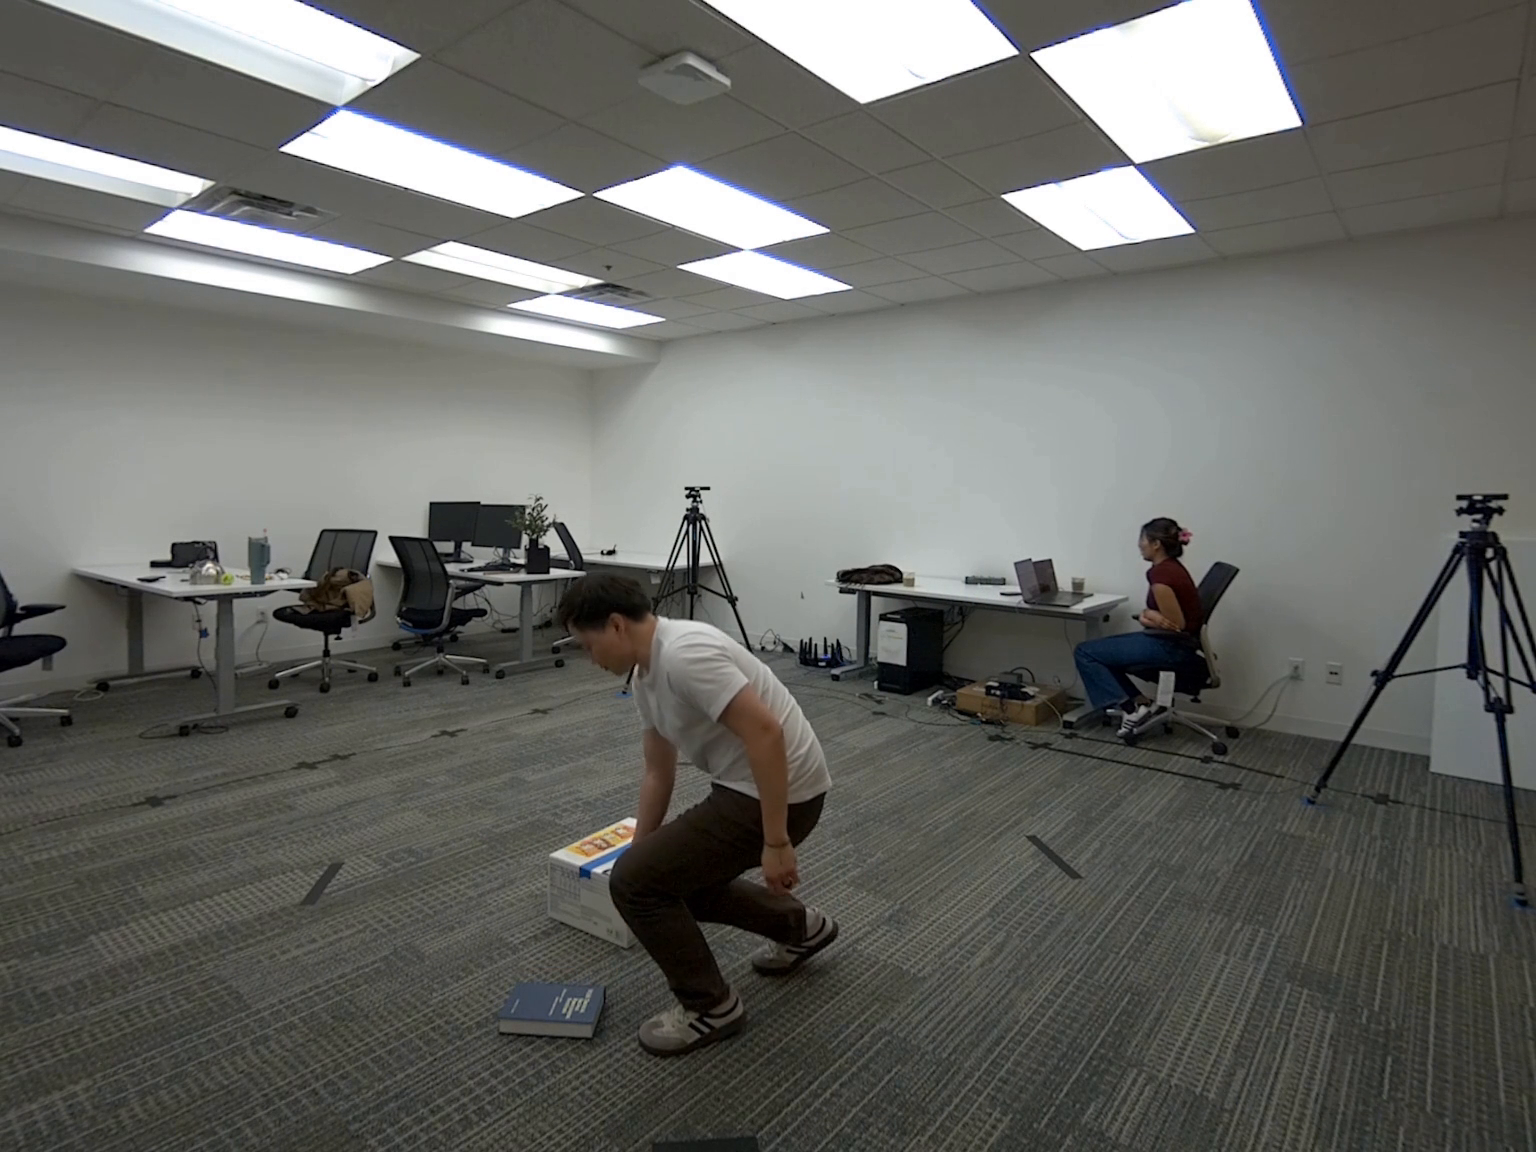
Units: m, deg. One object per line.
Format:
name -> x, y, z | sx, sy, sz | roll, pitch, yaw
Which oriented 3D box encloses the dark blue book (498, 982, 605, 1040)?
dark blue book -> -0.571, 1.128, 2.218 | 0.246, 0.045, 0.164 | 0, 7, 3
